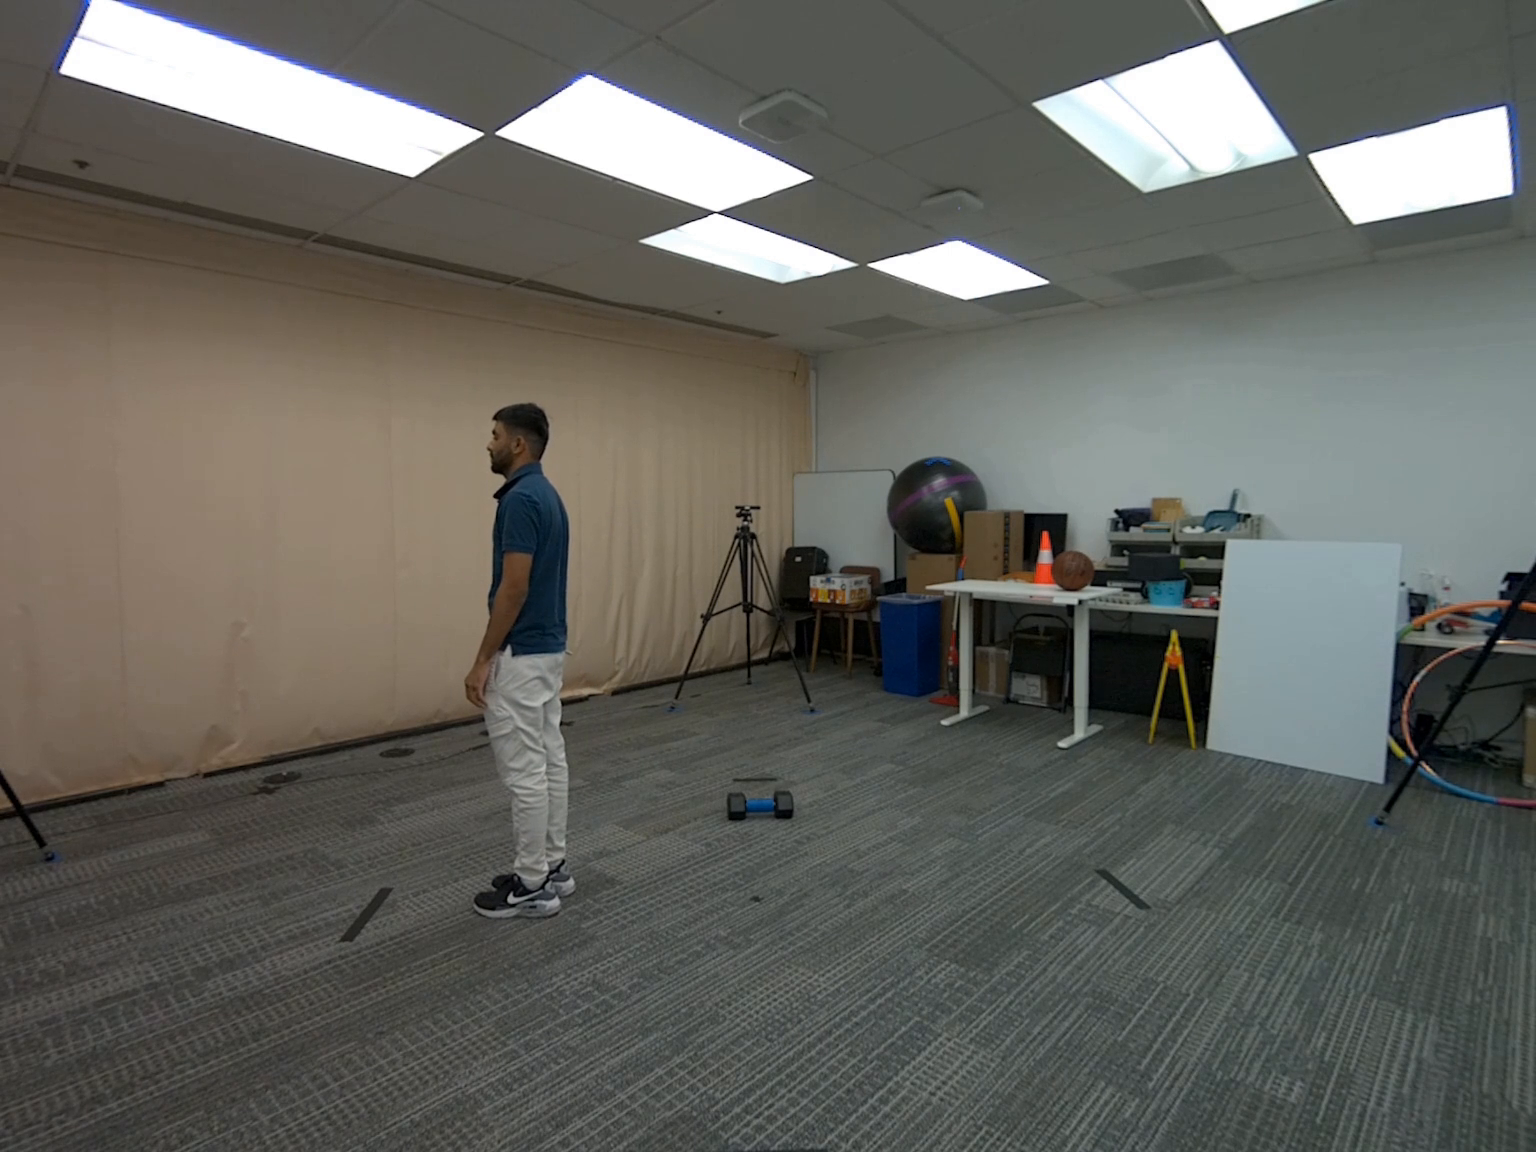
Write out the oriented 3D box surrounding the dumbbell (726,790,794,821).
[{"bbox_3d":[-0.039,1.027,3.765,0.292,0.121,0.111,0,34,-5],"label":"dumbbell"}]
